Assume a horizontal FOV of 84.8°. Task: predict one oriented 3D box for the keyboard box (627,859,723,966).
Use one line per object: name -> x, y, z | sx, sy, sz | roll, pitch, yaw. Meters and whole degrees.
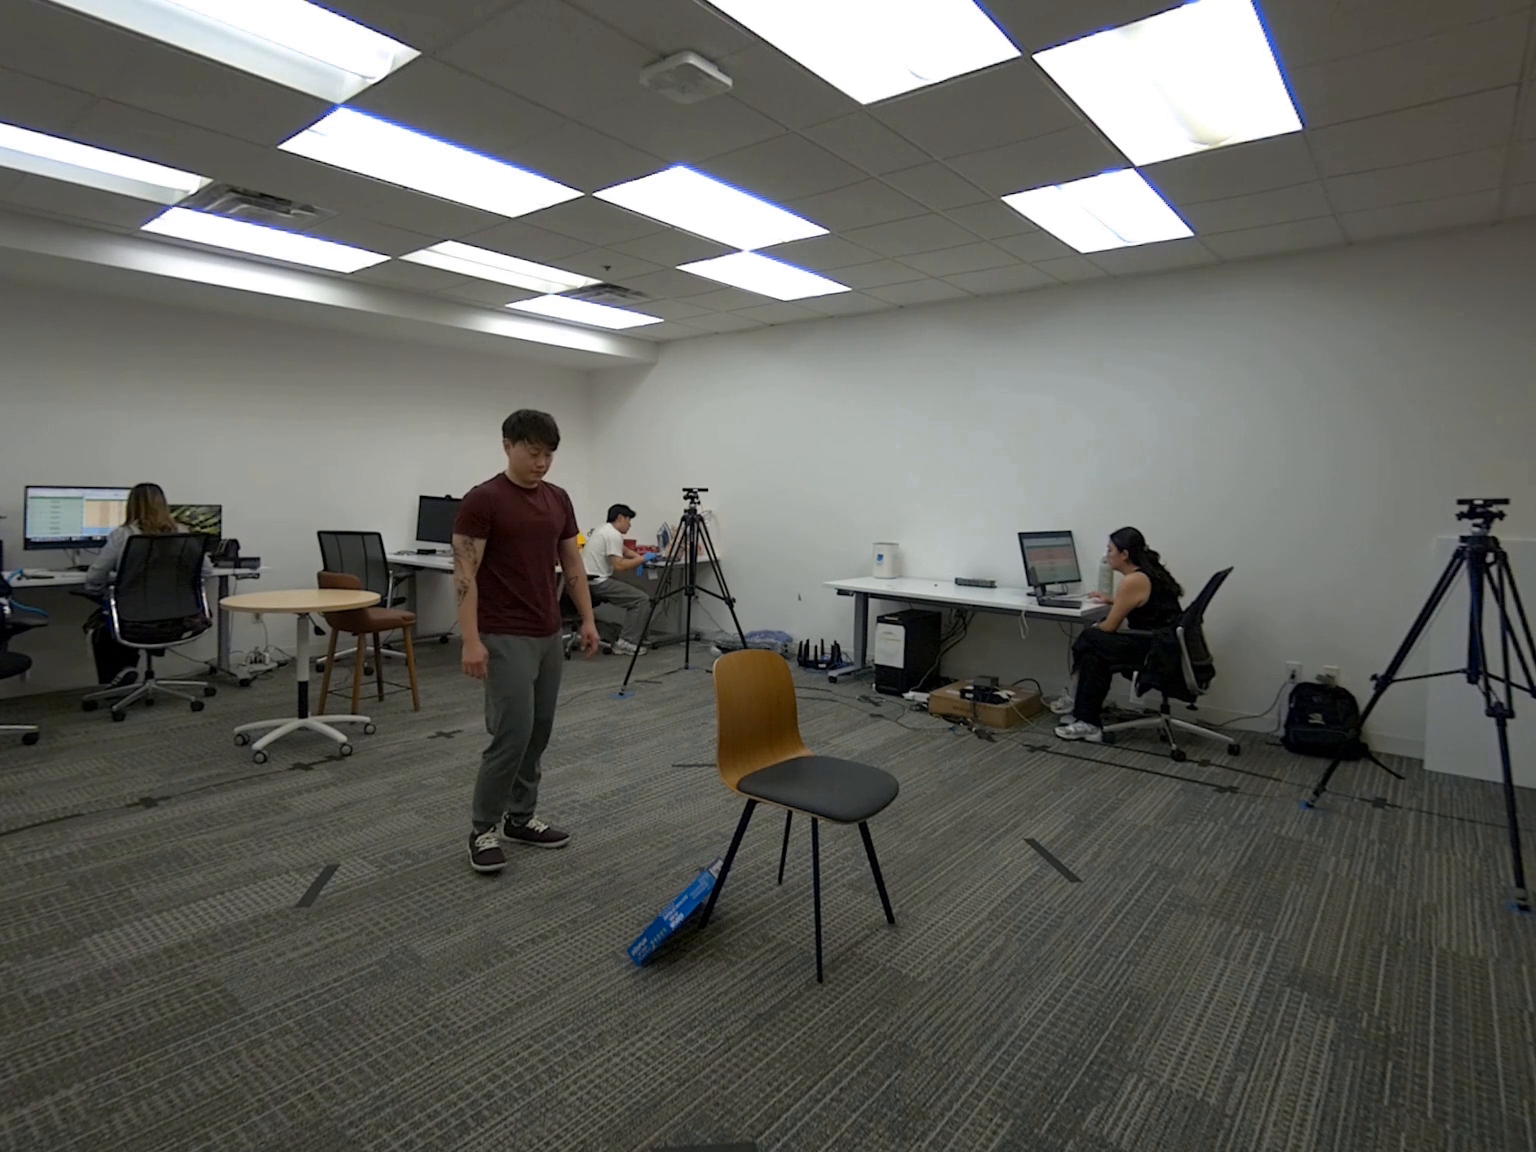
keyboard box -> -0.279, 1.030, 2.646 | 0.060, 0.175, 0.429 | 42, 17, 12
